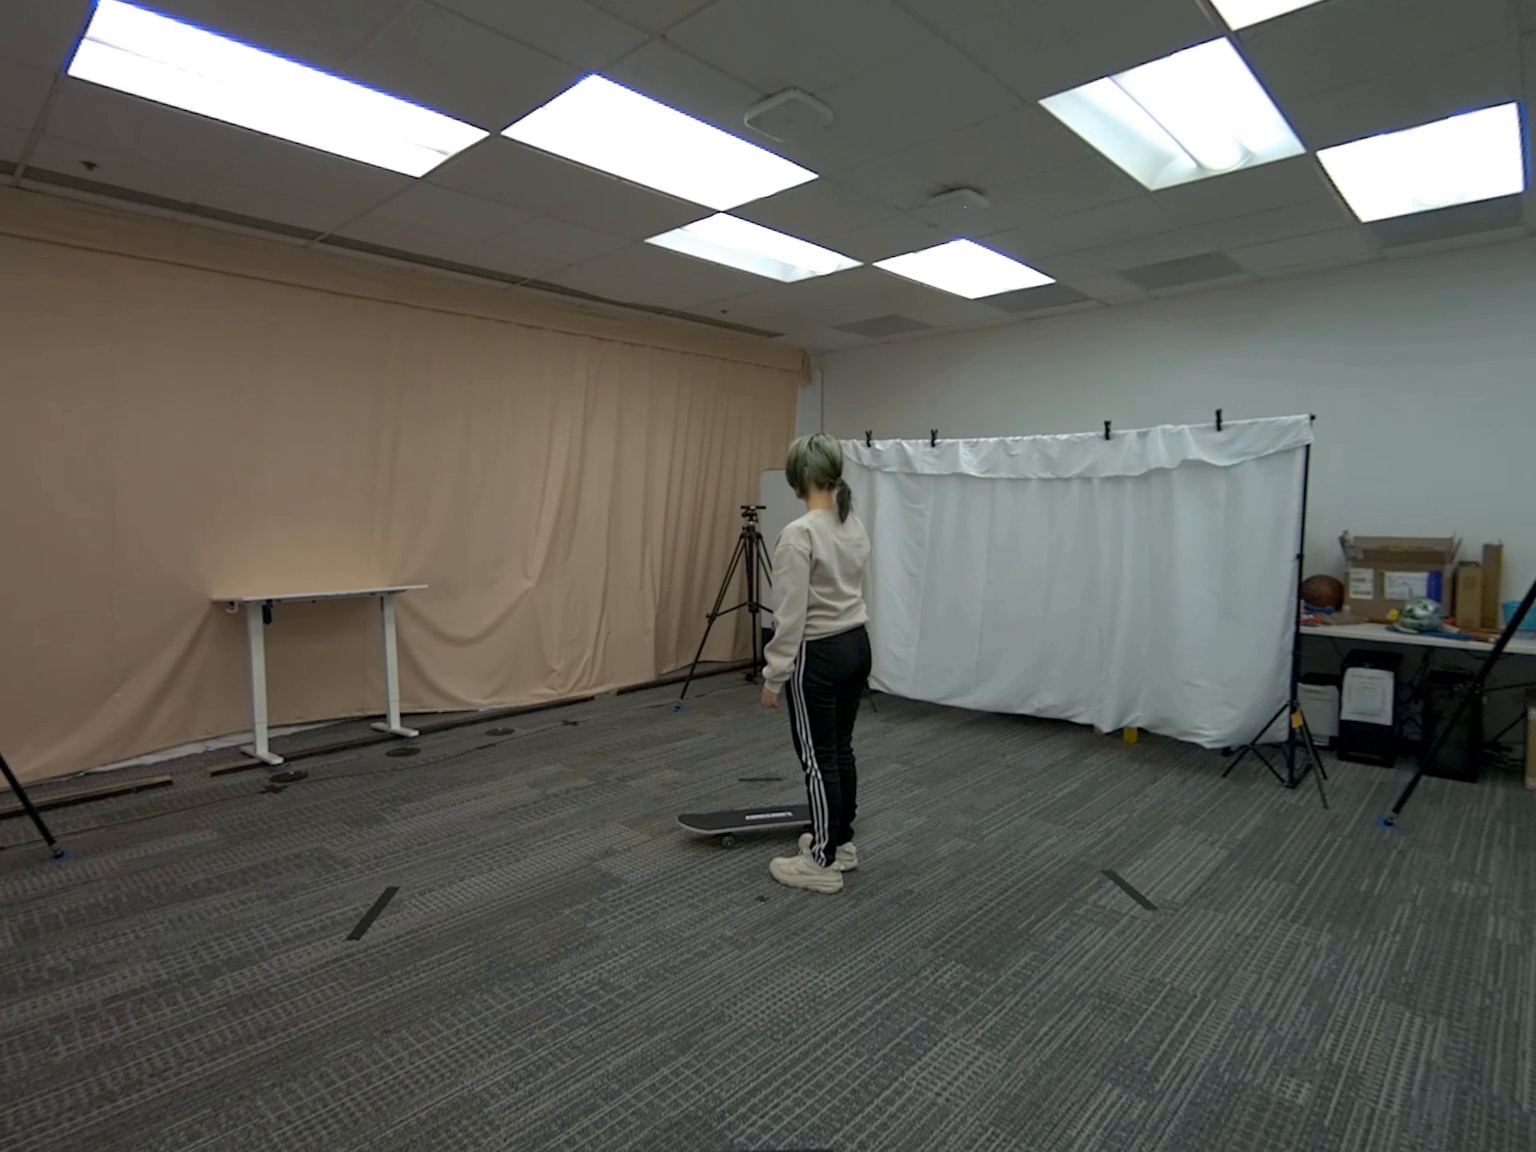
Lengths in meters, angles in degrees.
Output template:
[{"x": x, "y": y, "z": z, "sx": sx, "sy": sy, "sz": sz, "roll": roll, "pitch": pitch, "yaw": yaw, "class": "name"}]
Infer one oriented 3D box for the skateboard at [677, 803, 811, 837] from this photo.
[{"x": 0.000, "y": 1.040, "z": 3.545, "sx": 0.774, "sy": 0.110, "sz": 0.197, "roll": -1, "pitch": 4, "yaw": -14, "class": "skateboard"}]
